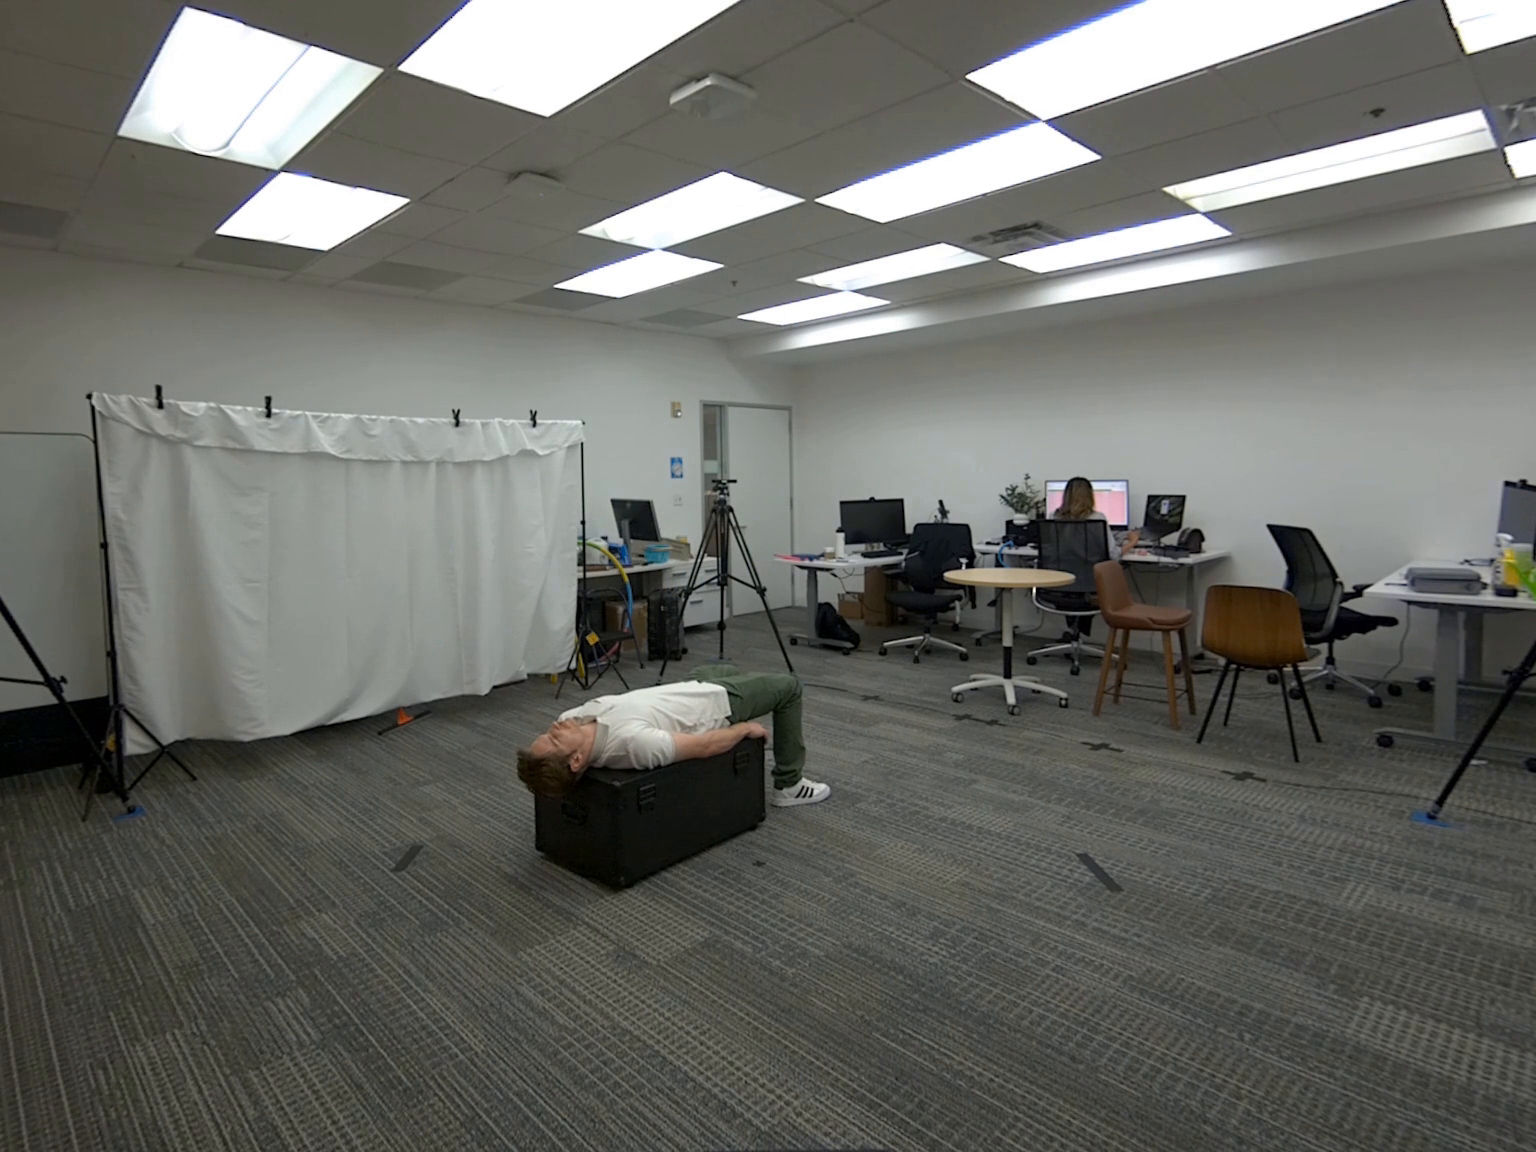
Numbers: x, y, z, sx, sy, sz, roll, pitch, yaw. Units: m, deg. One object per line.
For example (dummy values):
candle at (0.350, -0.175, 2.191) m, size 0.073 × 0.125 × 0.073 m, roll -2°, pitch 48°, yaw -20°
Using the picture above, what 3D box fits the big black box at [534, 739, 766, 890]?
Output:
big black box at (-0.414, 0.840, 3.344) m, size 0.539 × 0.384 × 0.846 m, roll 3°, pitch 6°, yaw 42°
